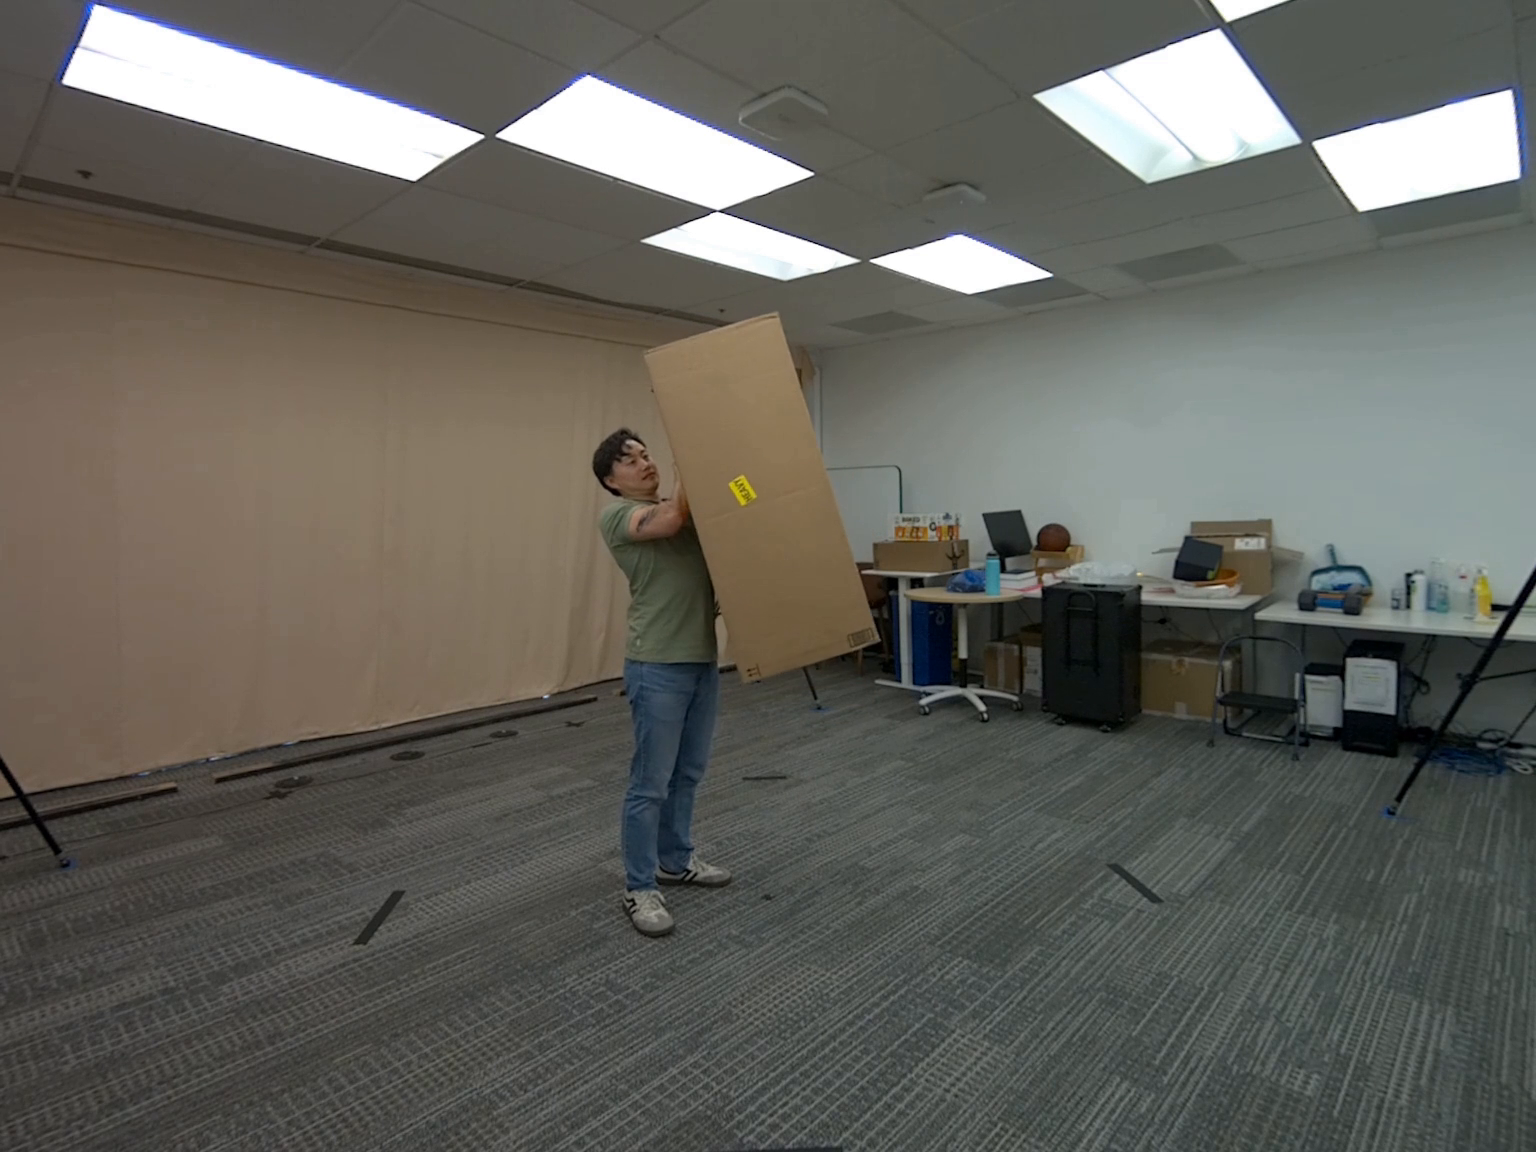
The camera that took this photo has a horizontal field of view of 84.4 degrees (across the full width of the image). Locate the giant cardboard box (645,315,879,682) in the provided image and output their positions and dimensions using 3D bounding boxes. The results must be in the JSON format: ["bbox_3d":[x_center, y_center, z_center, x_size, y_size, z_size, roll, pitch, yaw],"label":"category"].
[{"bbox_3d":[-0.036,-0.233,2.752,0.426,1.028,0.576,-17,-1,-1],"label":"giant cardboard box"}]
